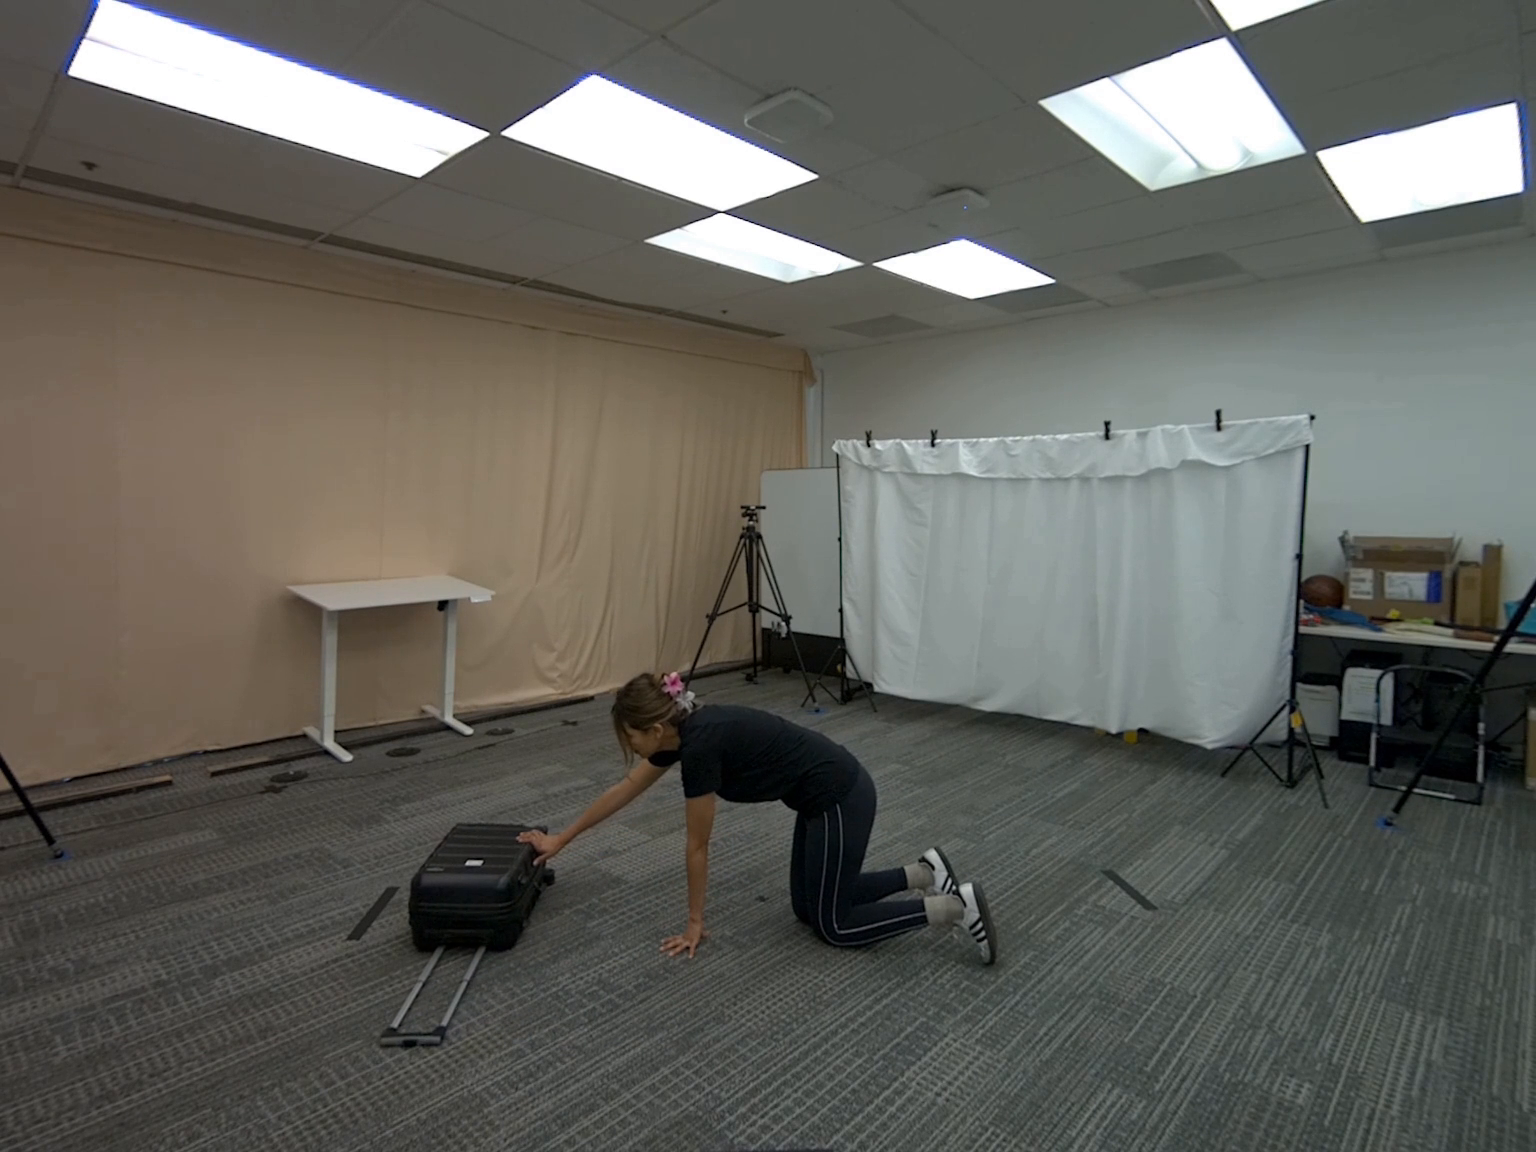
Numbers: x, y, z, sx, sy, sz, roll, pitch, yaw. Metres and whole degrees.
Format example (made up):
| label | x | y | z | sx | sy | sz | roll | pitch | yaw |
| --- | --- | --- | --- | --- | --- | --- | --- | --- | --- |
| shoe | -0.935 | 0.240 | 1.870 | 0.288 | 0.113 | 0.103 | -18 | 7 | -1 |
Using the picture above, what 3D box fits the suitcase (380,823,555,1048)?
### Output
| label | x | y | z | sx | sy | sz | roll | pitch | yaw |
| --- | --- | --- | --- | --- | --- | --- | --- | --- | --- |
| suitcase | -0.962 | 1.058 | 2.662 | 0.383 | 0.257 | 0.981 | 2 | 3 | -3 |
